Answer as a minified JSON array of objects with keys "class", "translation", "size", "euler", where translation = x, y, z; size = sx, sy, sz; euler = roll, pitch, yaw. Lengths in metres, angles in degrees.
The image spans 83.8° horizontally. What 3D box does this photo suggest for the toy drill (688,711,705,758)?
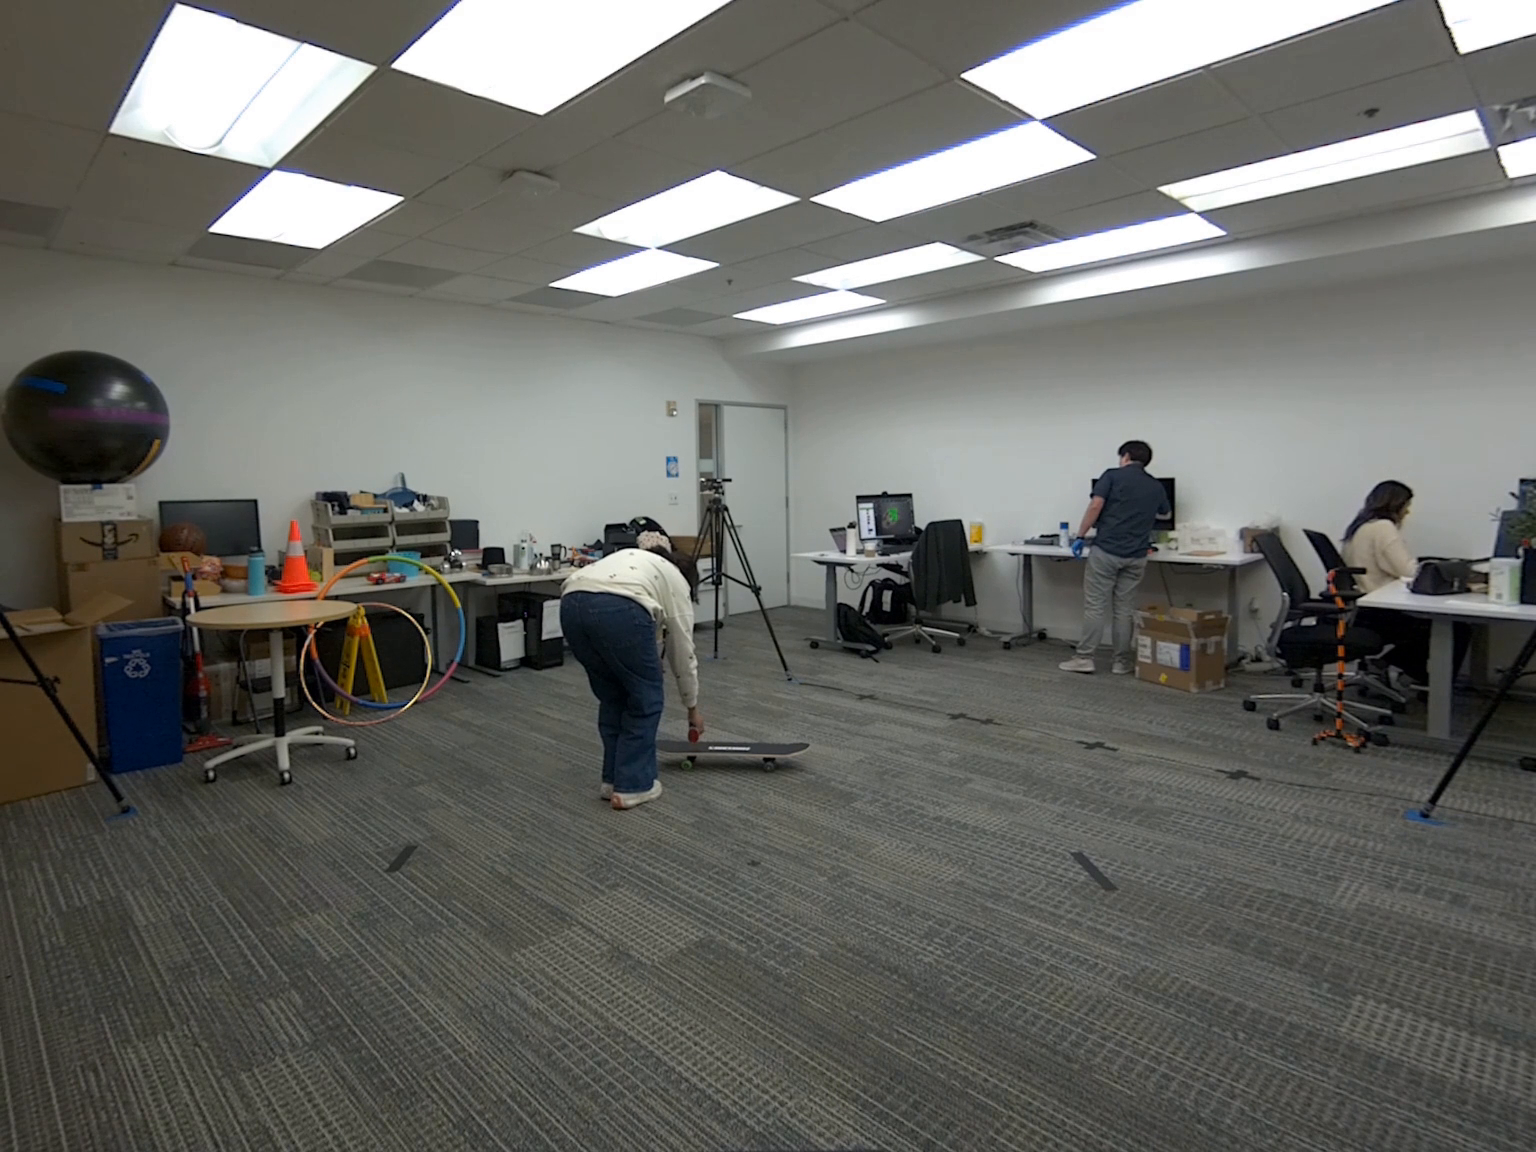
[{"class":"toy drill","translation":[-0.344,0.756,4.116],"size":[0.061,0.168,0.147],"euler":[2,15,2]}]
